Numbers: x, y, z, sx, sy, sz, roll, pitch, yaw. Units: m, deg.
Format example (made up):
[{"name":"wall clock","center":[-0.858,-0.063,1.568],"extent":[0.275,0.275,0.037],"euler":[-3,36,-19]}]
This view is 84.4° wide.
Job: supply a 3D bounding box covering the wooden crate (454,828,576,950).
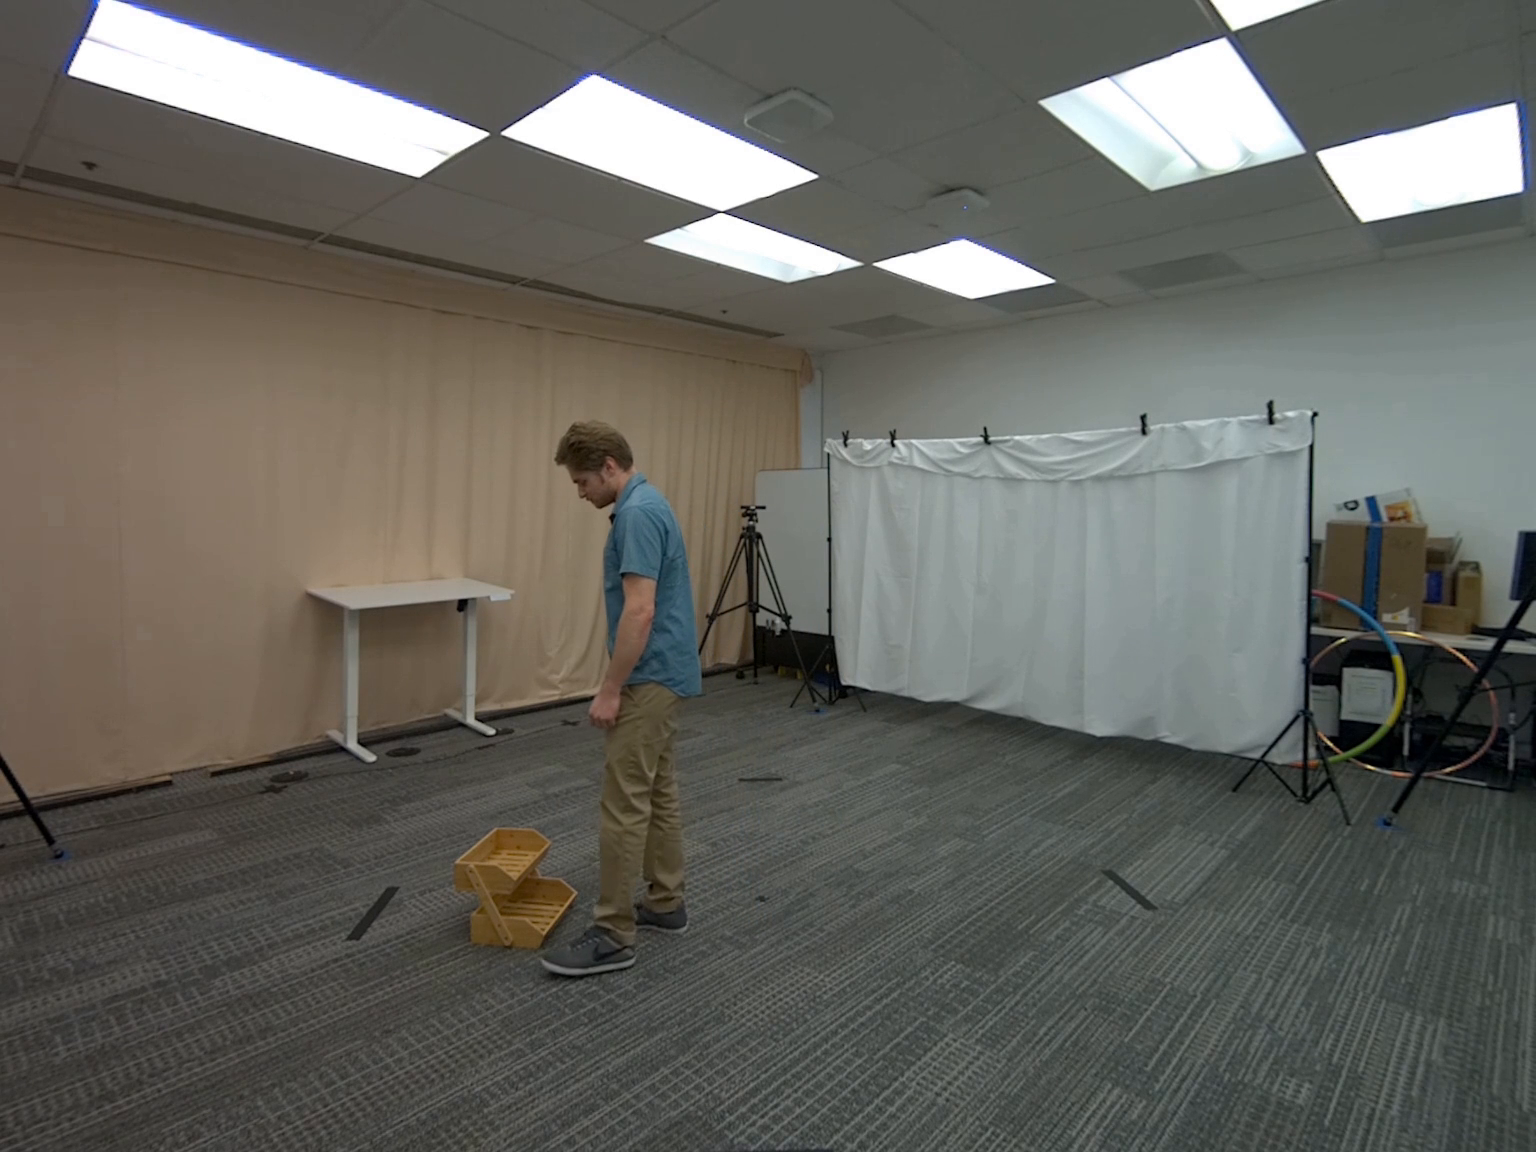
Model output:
[{"name":"wooden crate","center":[-0.827,1.028,2.812],"extent":[0.305,0.273,0.322],"euler":[-2,4,9]}]
